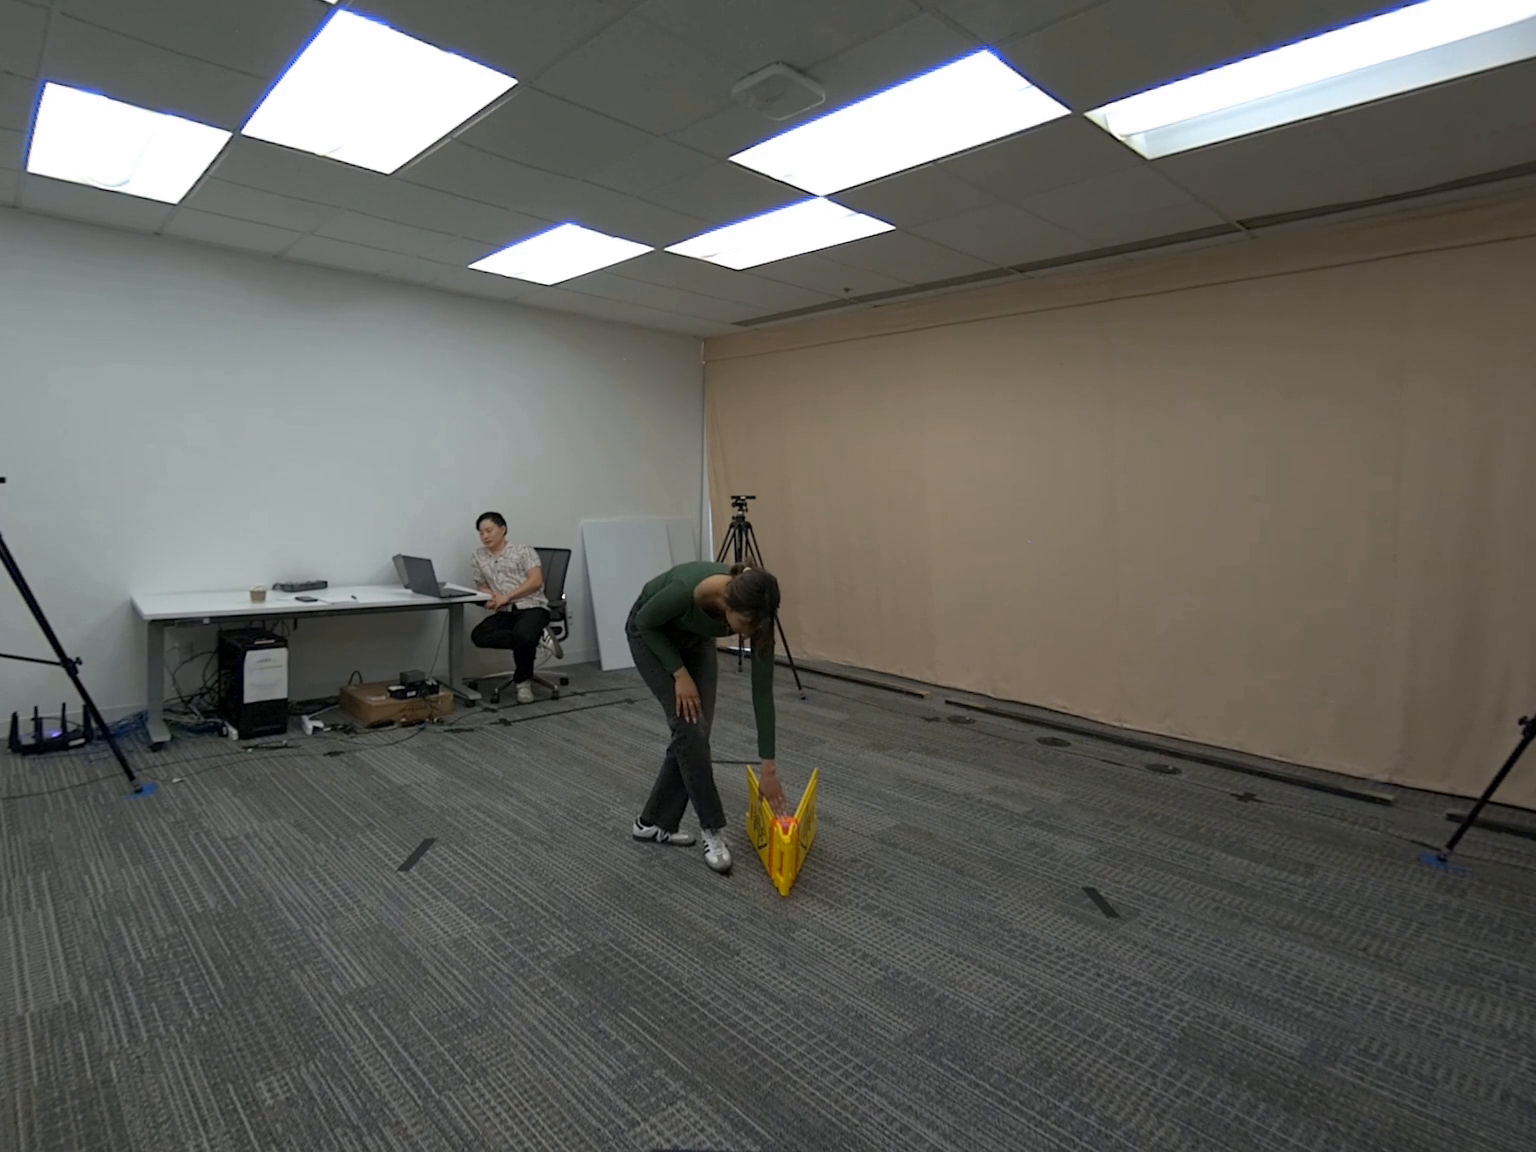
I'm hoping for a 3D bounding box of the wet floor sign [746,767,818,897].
[{"bbox_3d":[0.053,0.964,3.196,0.290,0.281,0.649,2,7,-1],"label":"wet floor sign"}]
